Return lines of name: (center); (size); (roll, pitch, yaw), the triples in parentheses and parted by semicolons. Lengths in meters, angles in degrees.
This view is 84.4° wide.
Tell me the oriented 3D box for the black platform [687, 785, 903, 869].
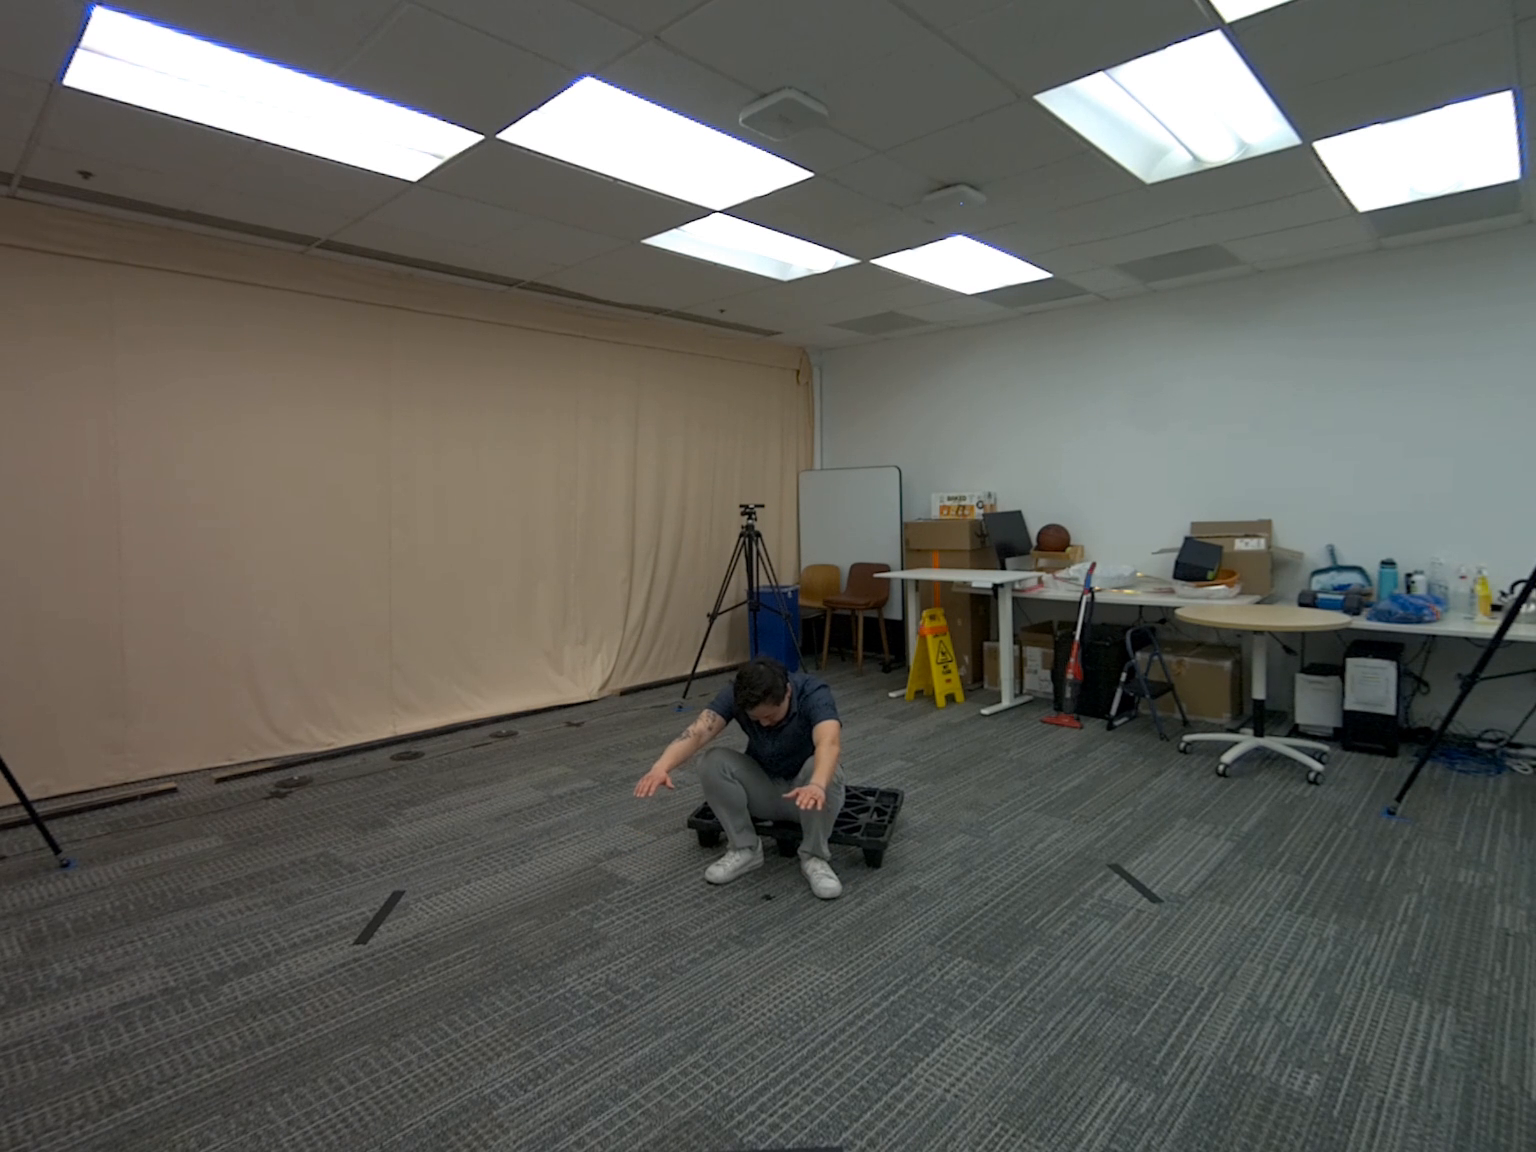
black platform: (0.141, 1.023, 3.531); (0.821, 0.143, 0.595); (0, 5, 17)
